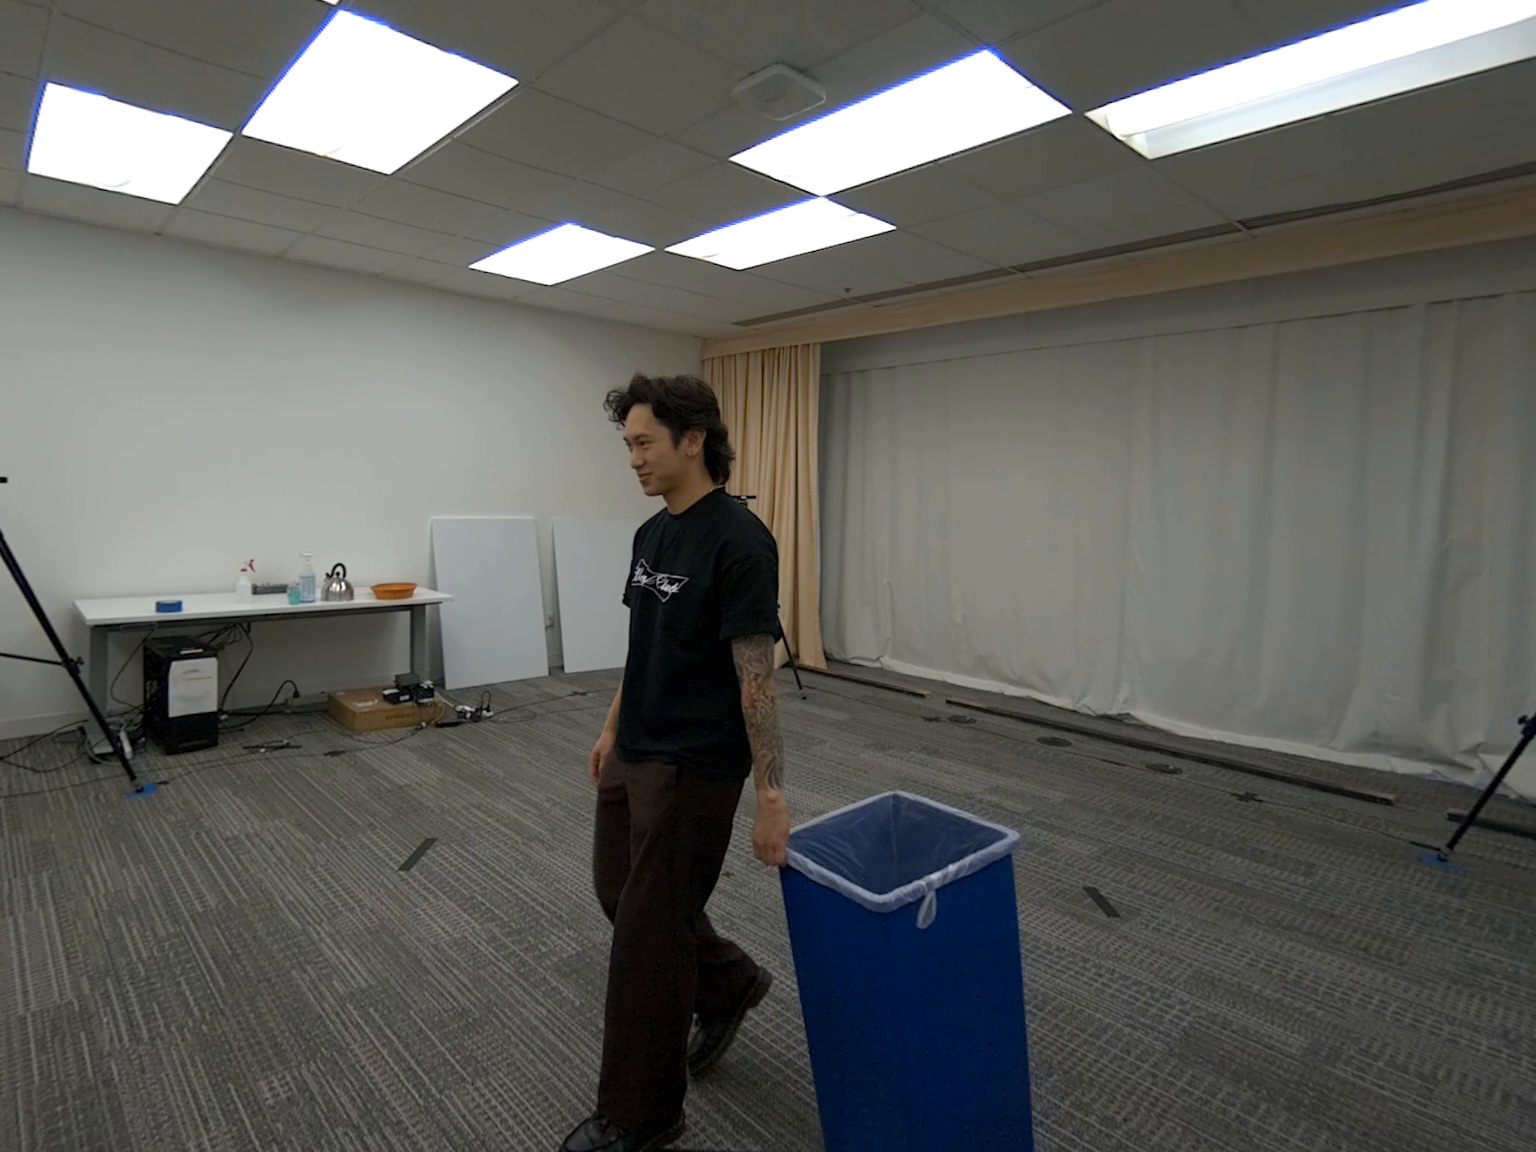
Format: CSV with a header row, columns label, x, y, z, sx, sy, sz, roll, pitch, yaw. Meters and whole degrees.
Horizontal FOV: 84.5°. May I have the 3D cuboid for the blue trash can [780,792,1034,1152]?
label,x,y,z,sx,sy,sz,roll,pitch,yaw
blue trash can,0.271,0.872,1.691,0.371,0.711,0.382,-8,5,-33
